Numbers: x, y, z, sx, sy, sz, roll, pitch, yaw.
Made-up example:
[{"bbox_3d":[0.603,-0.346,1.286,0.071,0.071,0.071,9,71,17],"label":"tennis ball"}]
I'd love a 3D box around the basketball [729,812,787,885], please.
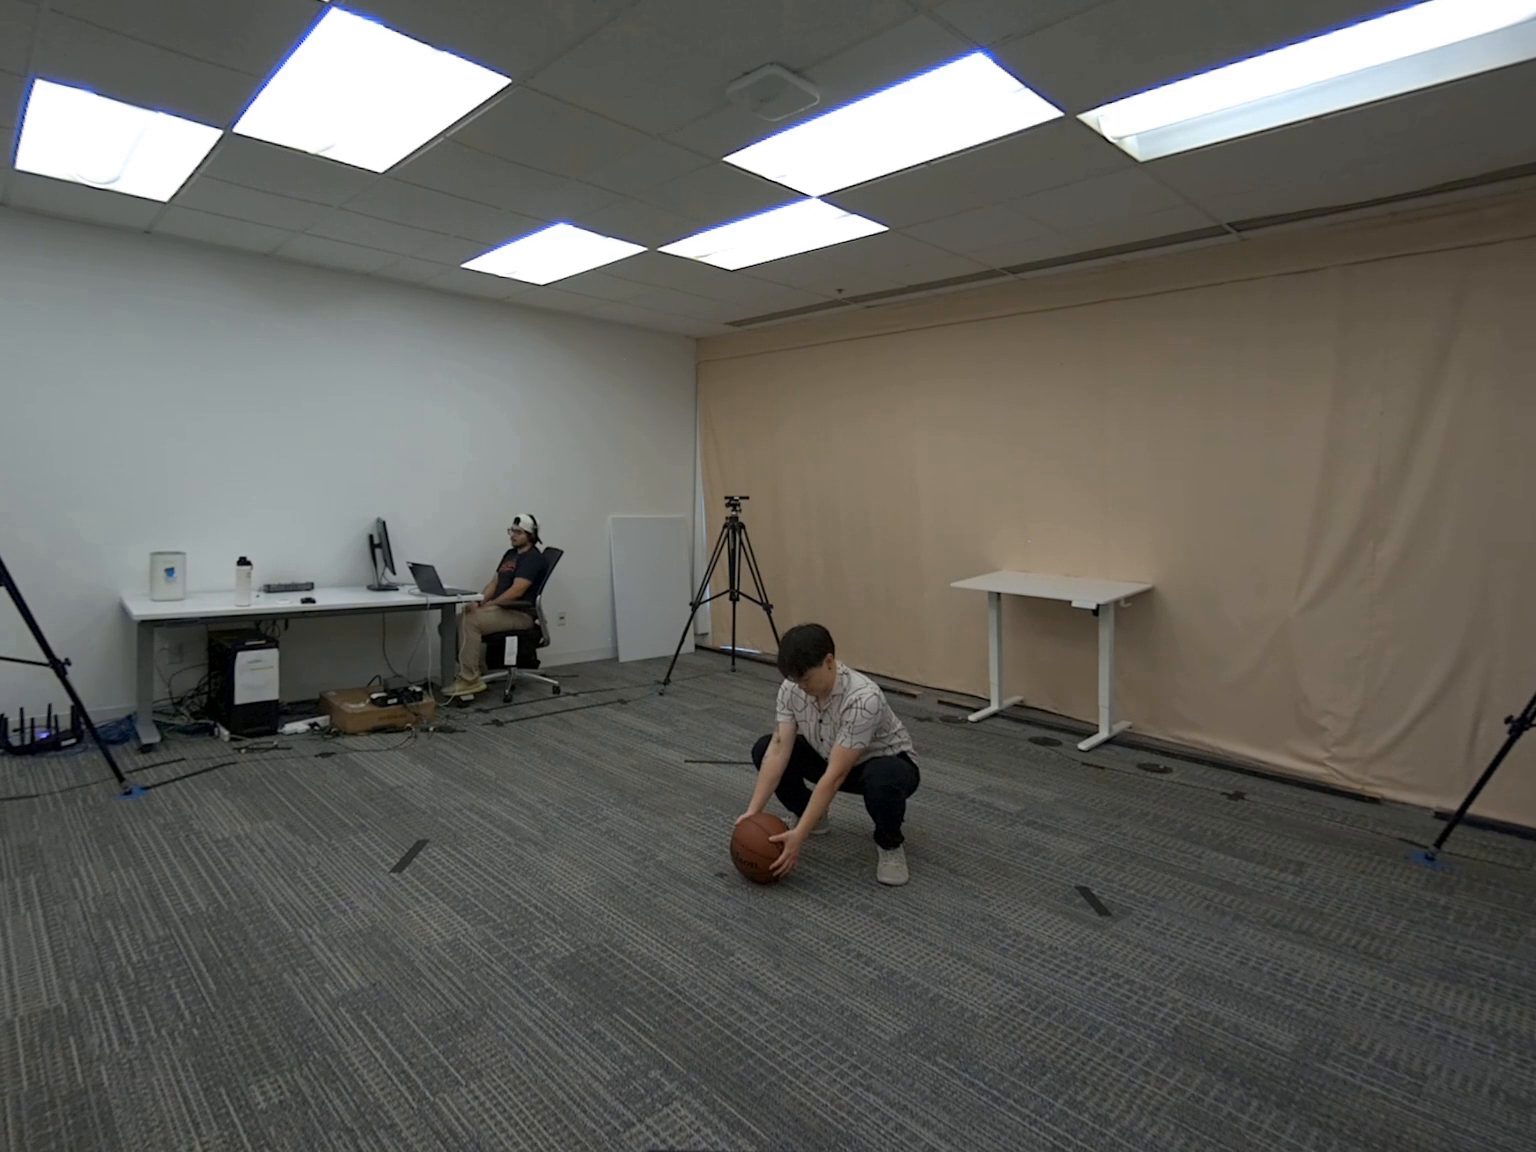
[{"bbox_3d":[-0.024,0.984,3.071,0.236,0.235,0.237,1,4,-1],"label":"basketball"}]
